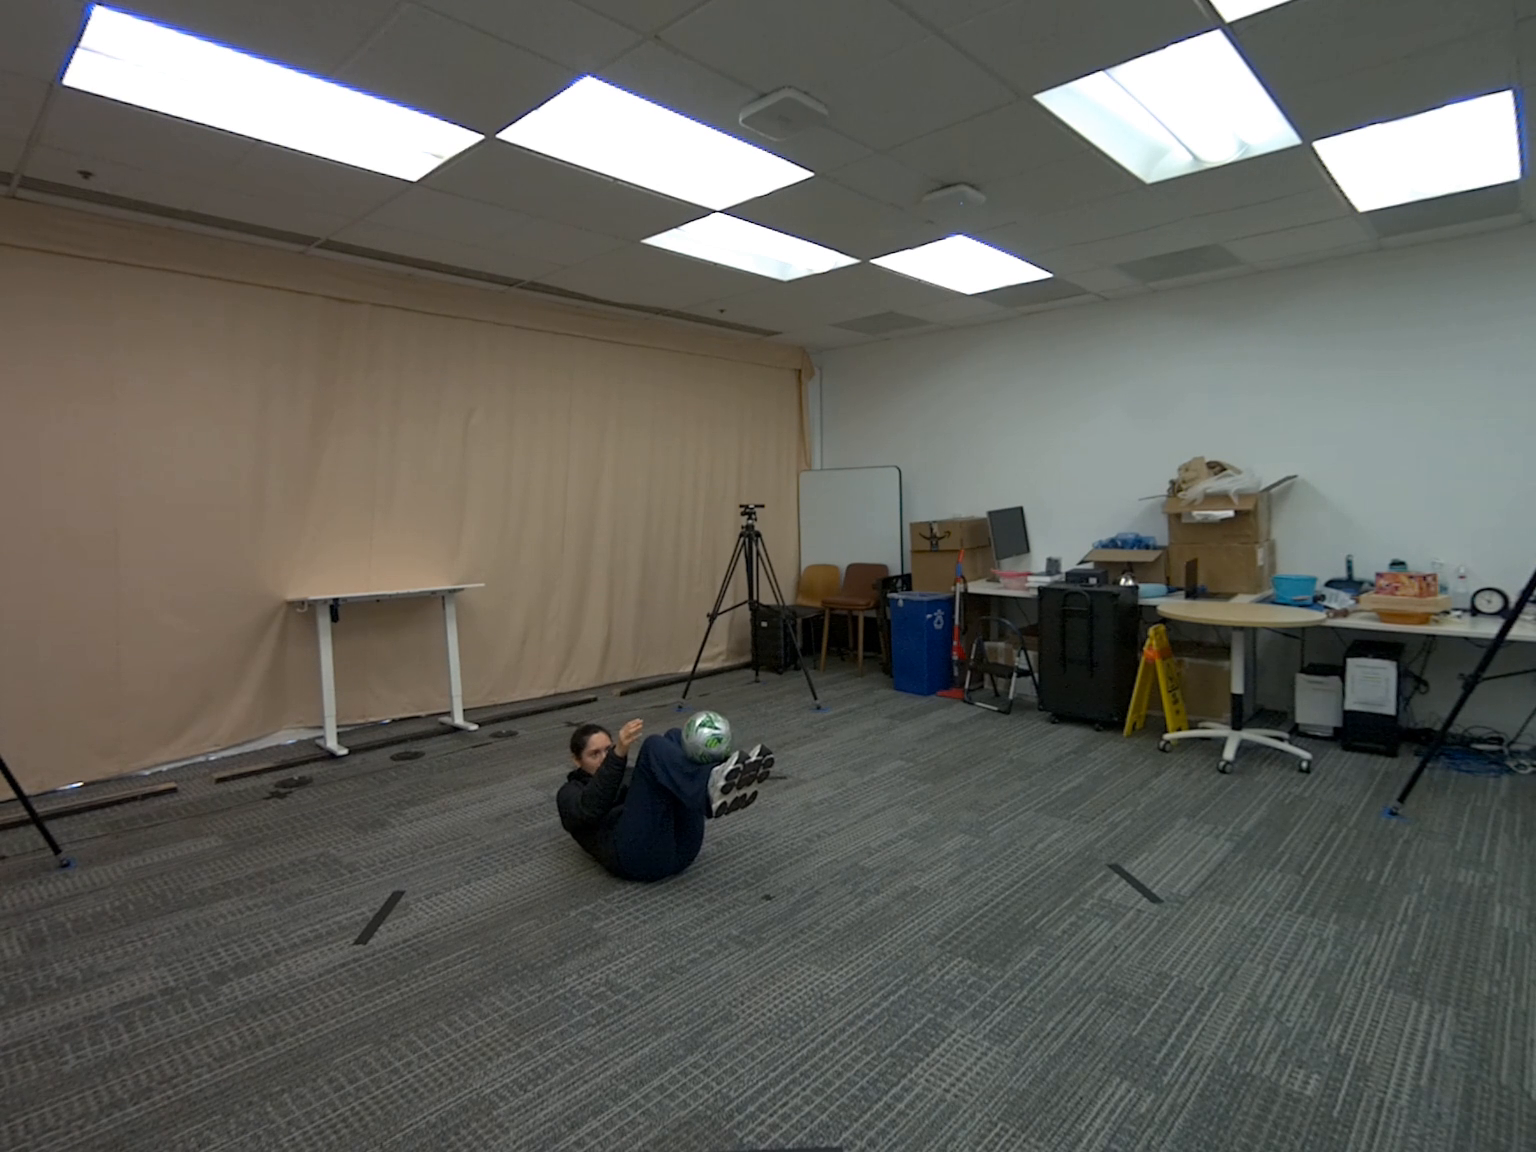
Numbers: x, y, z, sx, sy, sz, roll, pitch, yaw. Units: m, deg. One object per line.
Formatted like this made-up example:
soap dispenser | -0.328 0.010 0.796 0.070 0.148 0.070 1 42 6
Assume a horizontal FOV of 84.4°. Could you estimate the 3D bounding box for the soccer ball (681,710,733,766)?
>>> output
soccer ball | -0.207 0.569 2.937 0.187 0.187 0.188 2 5 -2
